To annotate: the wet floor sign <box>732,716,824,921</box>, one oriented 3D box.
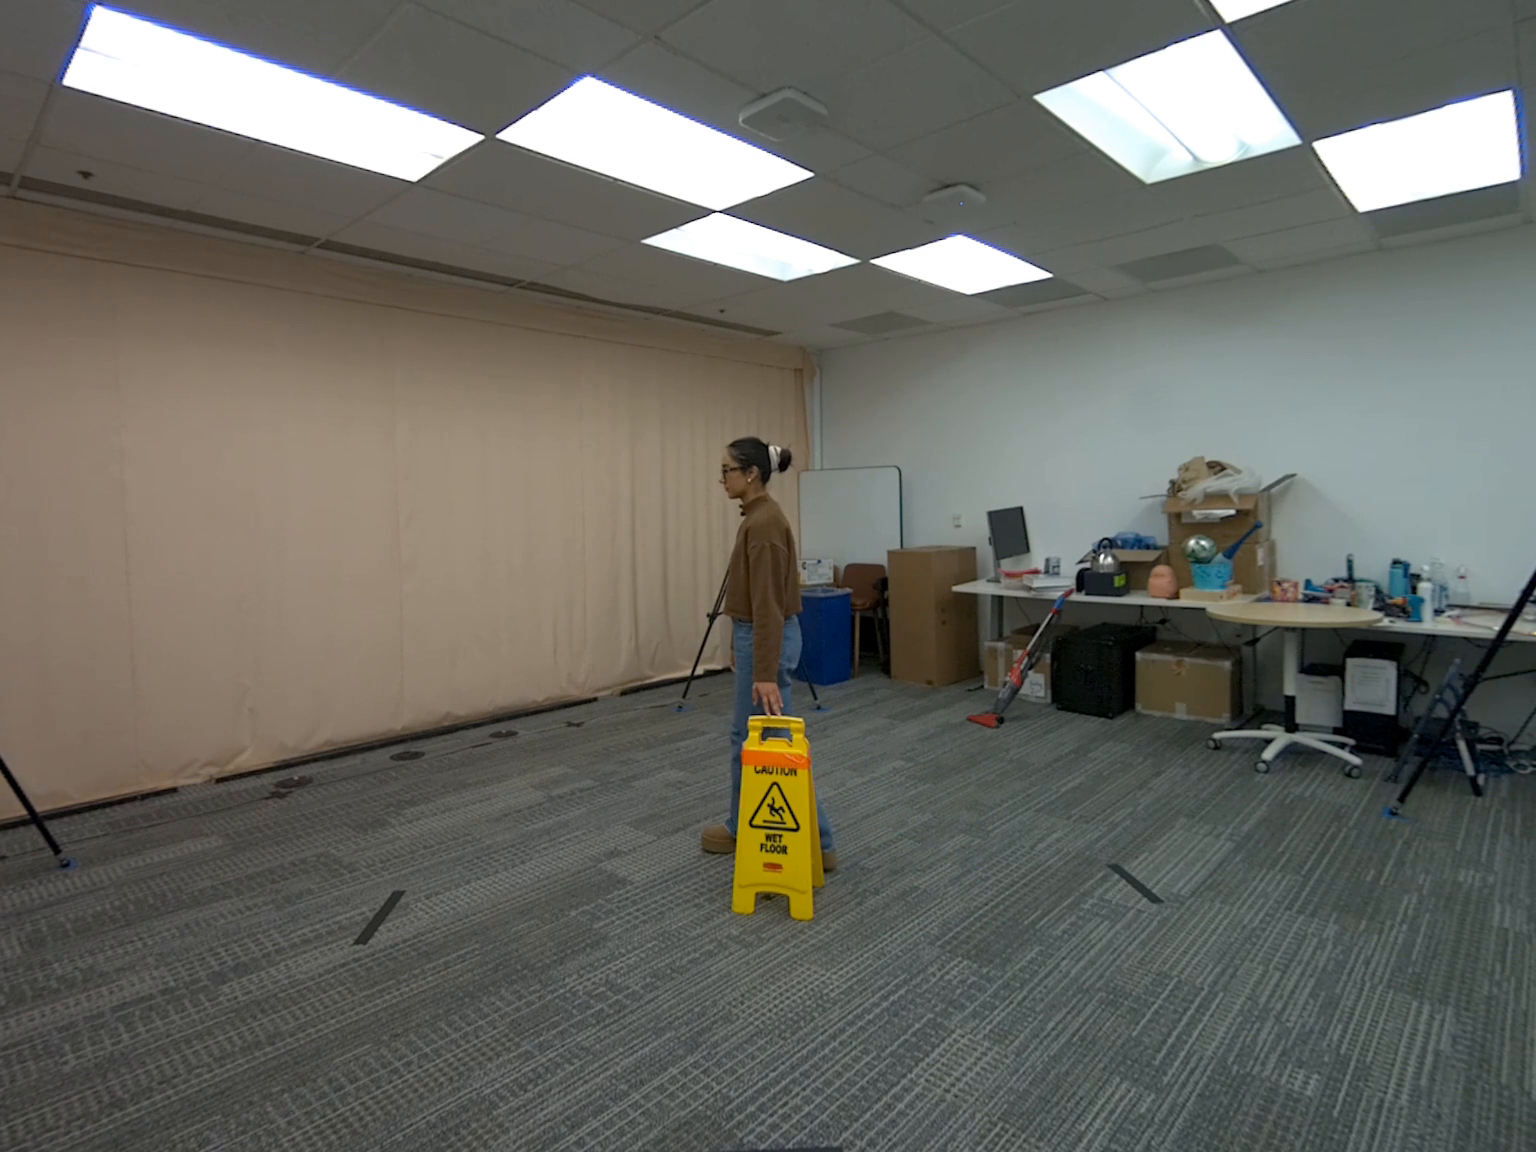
[{"bbox_3d":[0.041,0.811,2.965,0.286,0.645,0.286,1,3,13],"label":"wet floor sign"}]
